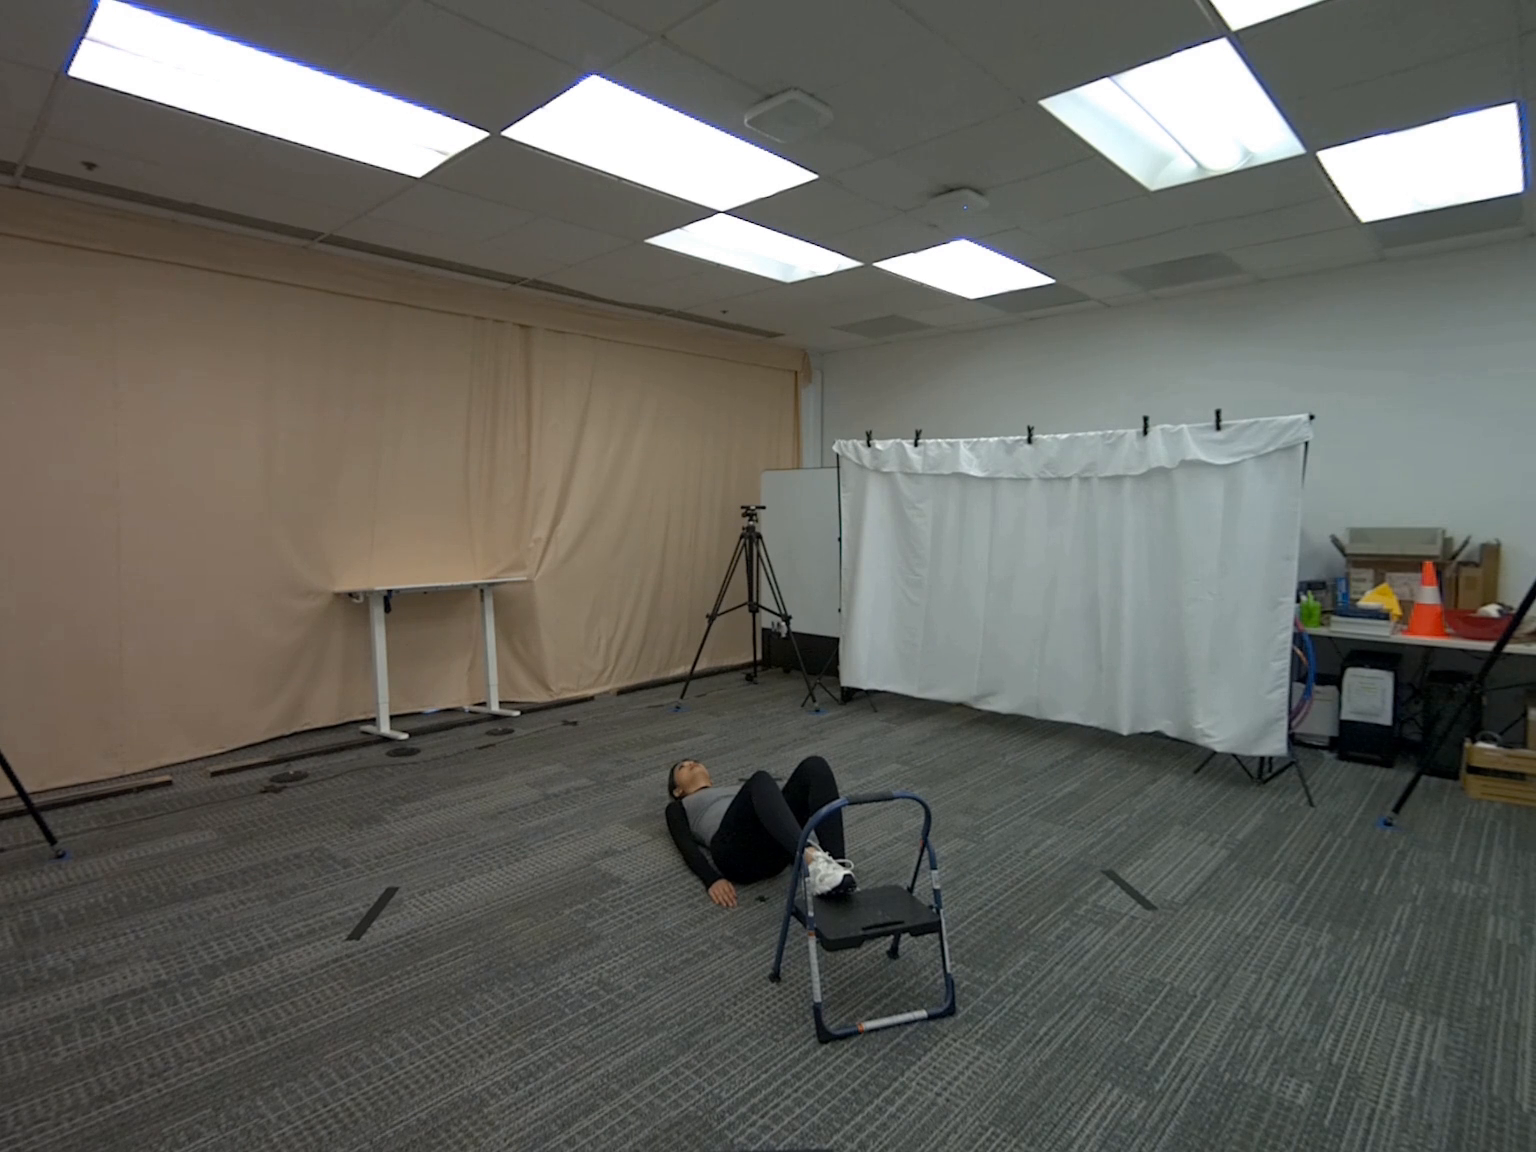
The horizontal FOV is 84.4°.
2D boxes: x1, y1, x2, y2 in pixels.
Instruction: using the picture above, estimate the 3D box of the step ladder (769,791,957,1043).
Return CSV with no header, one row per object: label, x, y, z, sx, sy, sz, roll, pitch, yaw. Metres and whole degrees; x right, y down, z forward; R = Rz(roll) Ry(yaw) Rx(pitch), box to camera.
step ladder,0.271,0.895,2.382,0.422,0.605,0.357,-2,3,-21
